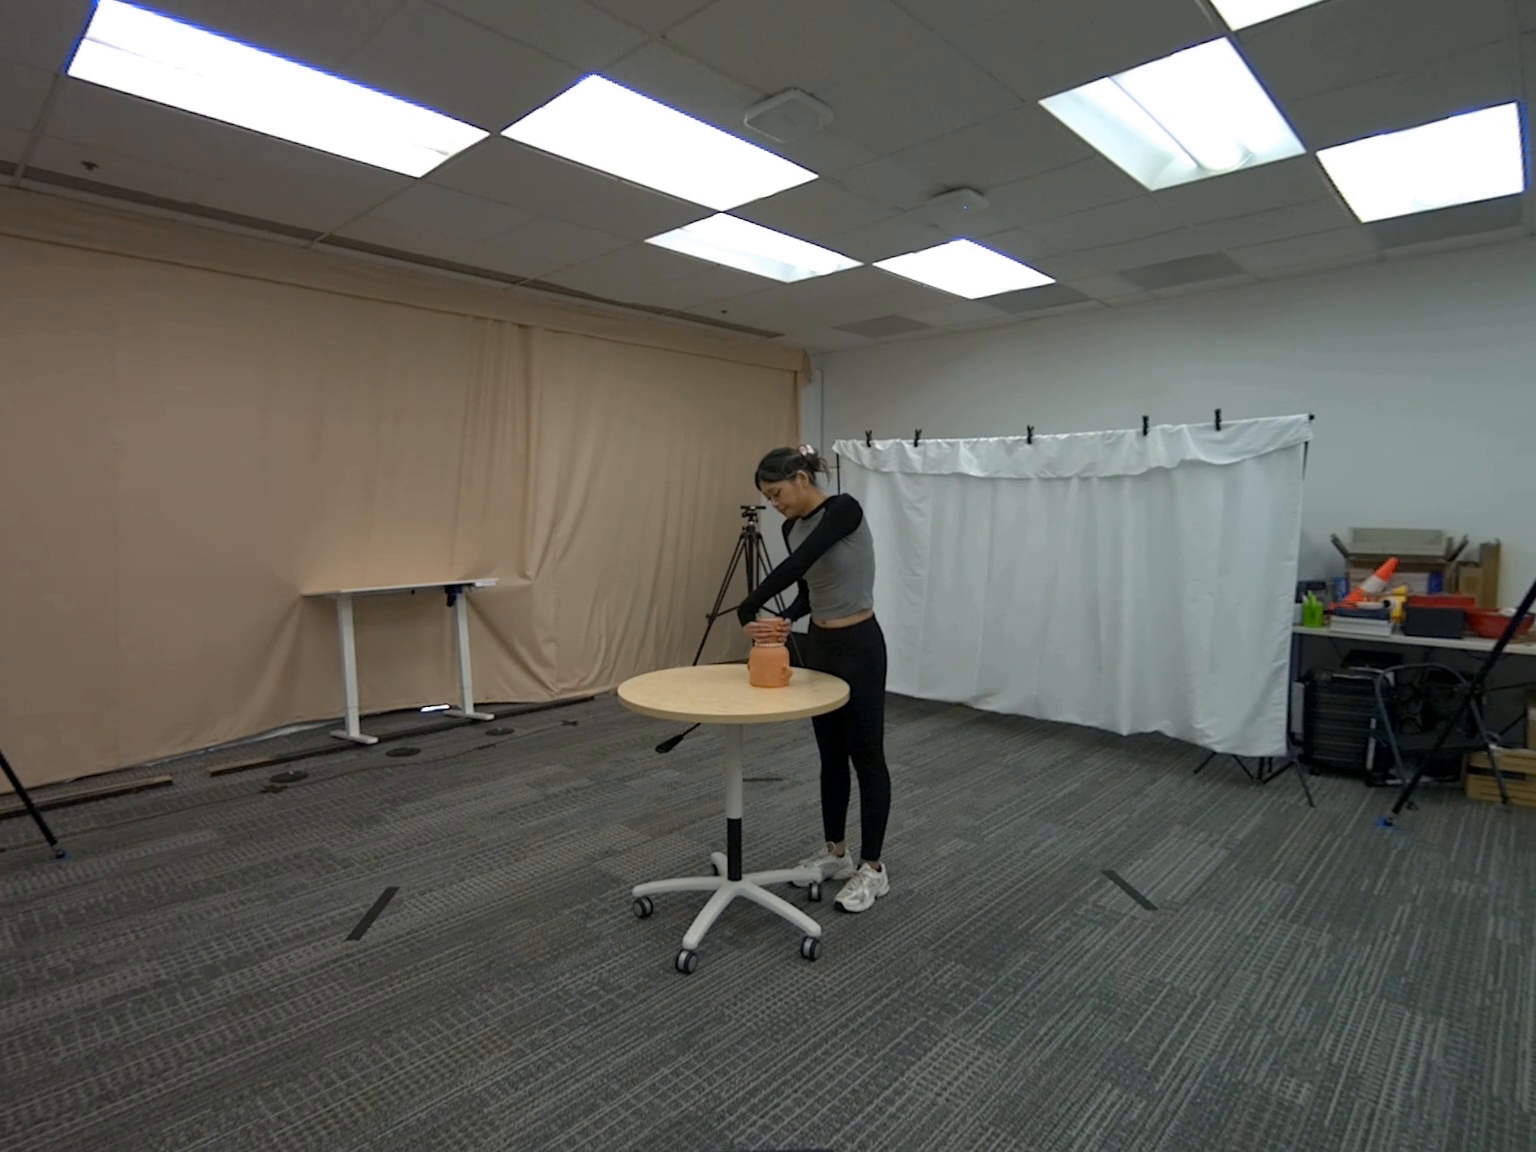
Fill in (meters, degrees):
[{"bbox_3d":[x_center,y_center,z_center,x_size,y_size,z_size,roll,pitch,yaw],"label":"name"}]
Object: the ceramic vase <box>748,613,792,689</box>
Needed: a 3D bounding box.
[{"bbox_3d":[0.008,0.254,2.824,0.160,0.219,0.134,-2,3,5],"label":"ceramic vase"}]
